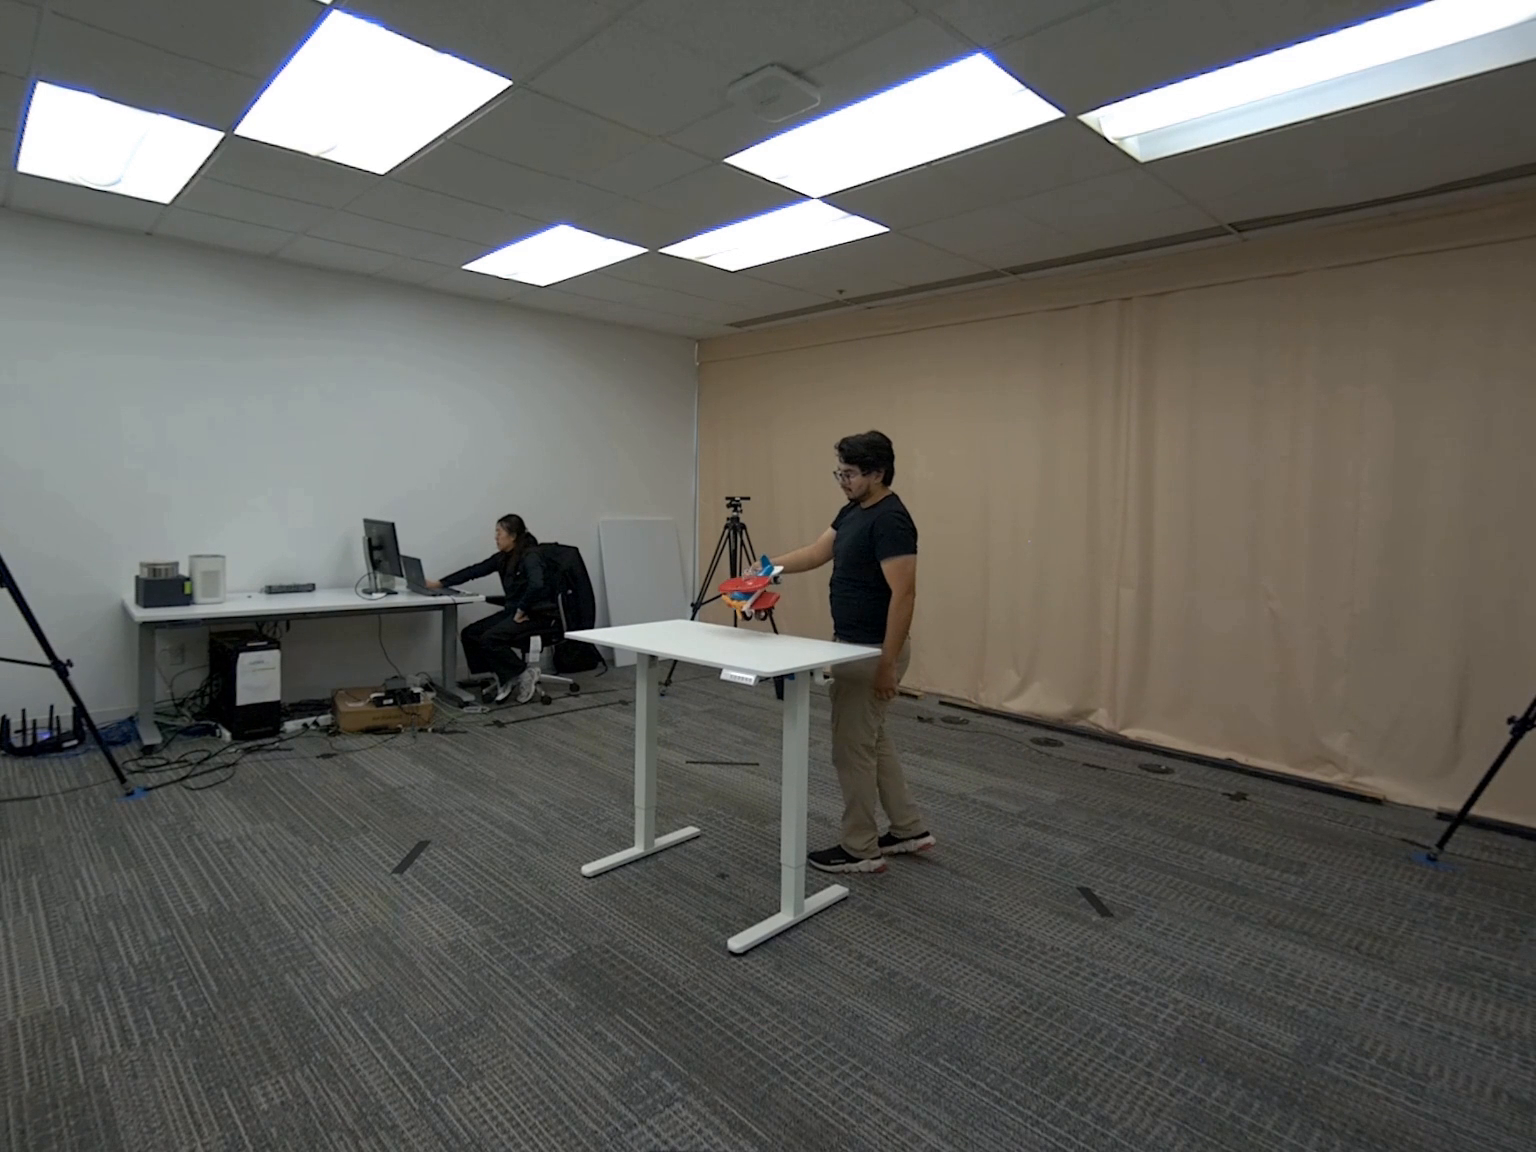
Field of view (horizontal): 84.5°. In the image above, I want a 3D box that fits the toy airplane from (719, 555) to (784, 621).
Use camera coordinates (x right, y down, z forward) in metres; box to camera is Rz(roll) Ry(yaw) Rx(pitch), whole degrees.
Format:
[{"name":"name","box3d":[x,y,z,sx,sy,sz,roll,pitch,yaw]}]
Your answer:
[{"name":"toy airplane","box3d":[-0.064,0.050,3.217,0.253,0.152,0.264,-26,35,23]}]
